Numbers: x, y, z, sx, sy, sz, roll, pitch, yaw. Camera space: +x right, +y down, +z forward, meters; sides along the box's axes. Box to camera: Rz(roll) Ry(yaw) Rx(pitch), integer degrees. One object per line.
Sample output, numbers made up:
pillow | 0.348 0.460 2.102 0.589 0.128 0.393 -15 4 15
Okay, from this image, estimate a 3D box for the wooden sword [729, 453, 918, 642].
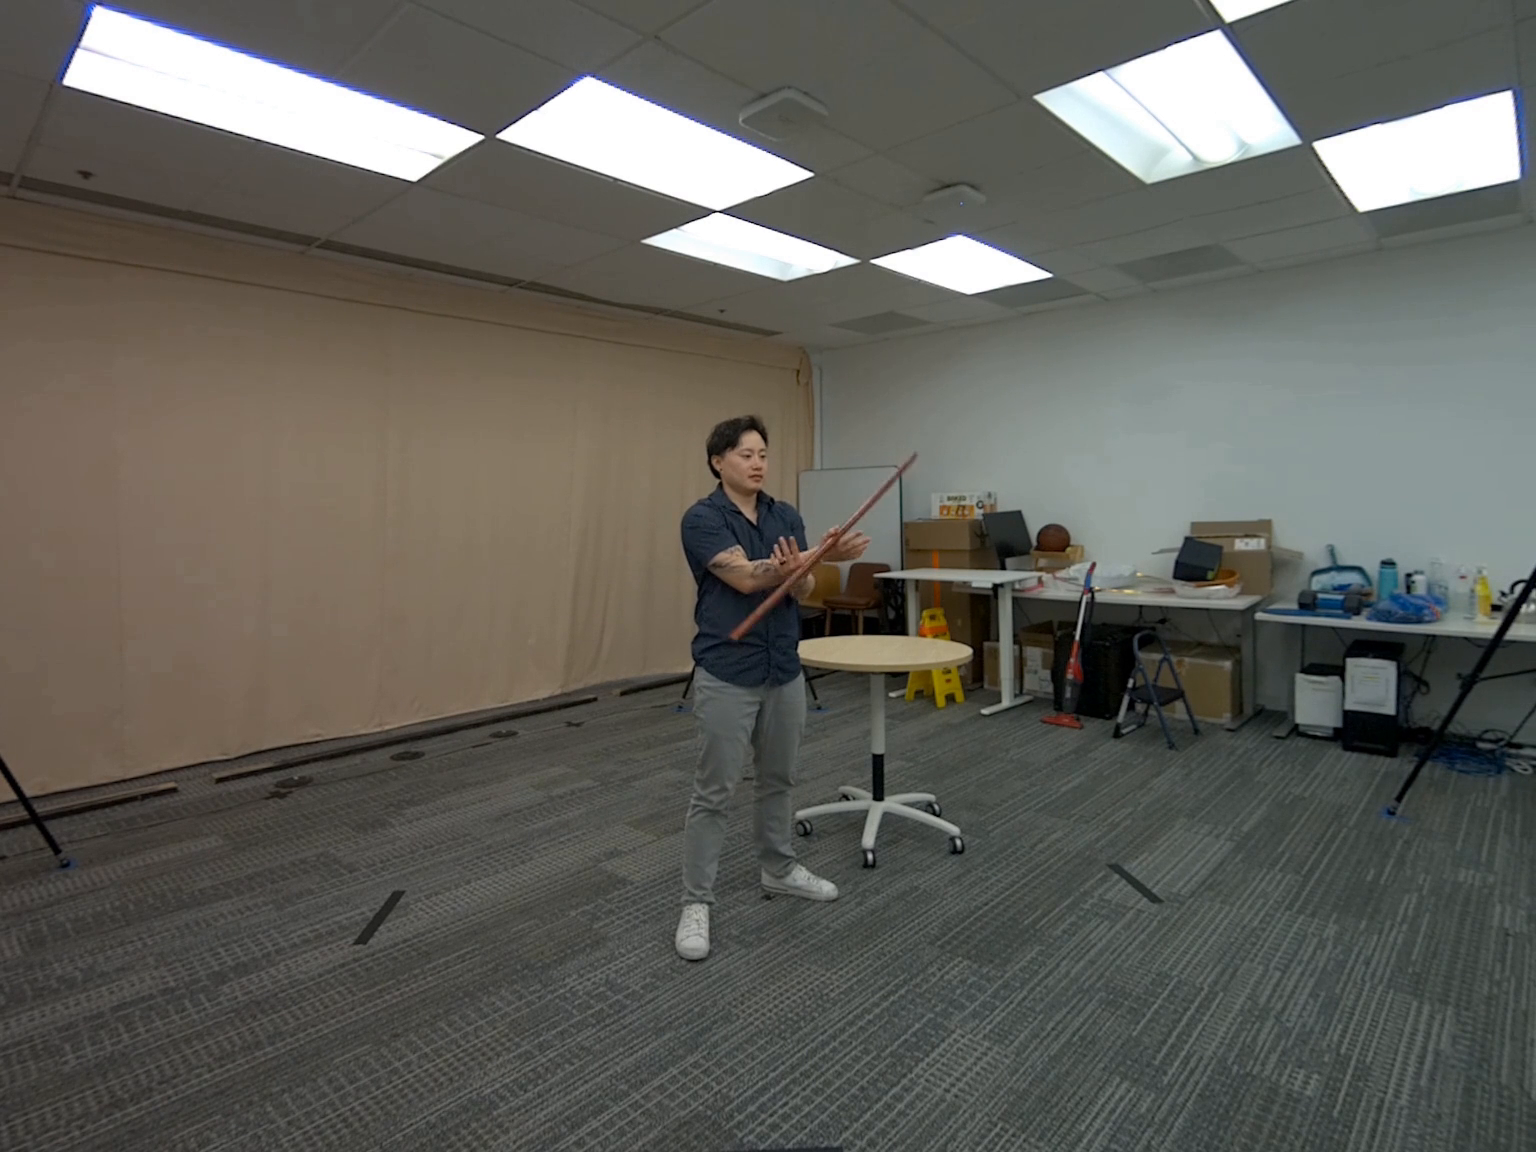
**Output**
wooden sword | 0.214 -0.117 2.554 0.053 0.023 1.015 14 46 38
